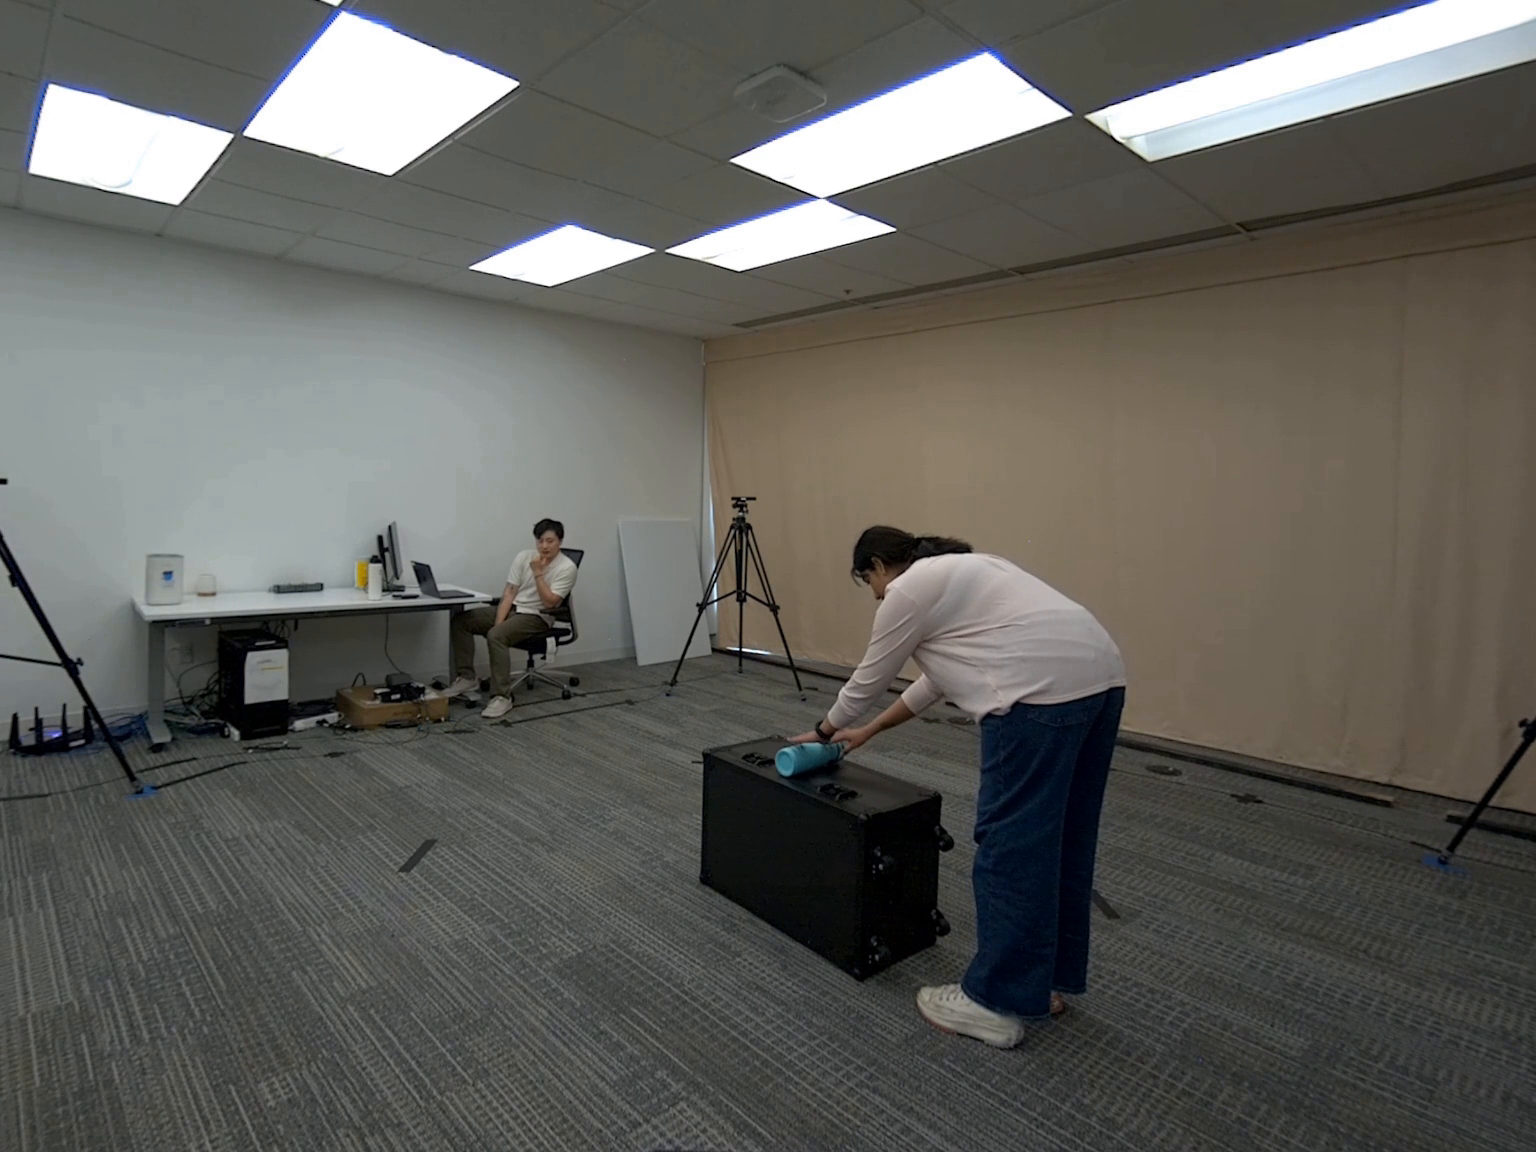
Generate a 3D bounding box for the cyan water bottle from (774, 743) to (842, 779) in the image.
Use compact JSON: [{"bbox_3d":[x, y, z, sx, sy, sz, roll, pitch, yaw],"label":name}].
[{"bbox_3d":[0.147,0.601,2.848,0.095,0.092,0.277,5,7,44],"label":"cyan water bottle"}]
